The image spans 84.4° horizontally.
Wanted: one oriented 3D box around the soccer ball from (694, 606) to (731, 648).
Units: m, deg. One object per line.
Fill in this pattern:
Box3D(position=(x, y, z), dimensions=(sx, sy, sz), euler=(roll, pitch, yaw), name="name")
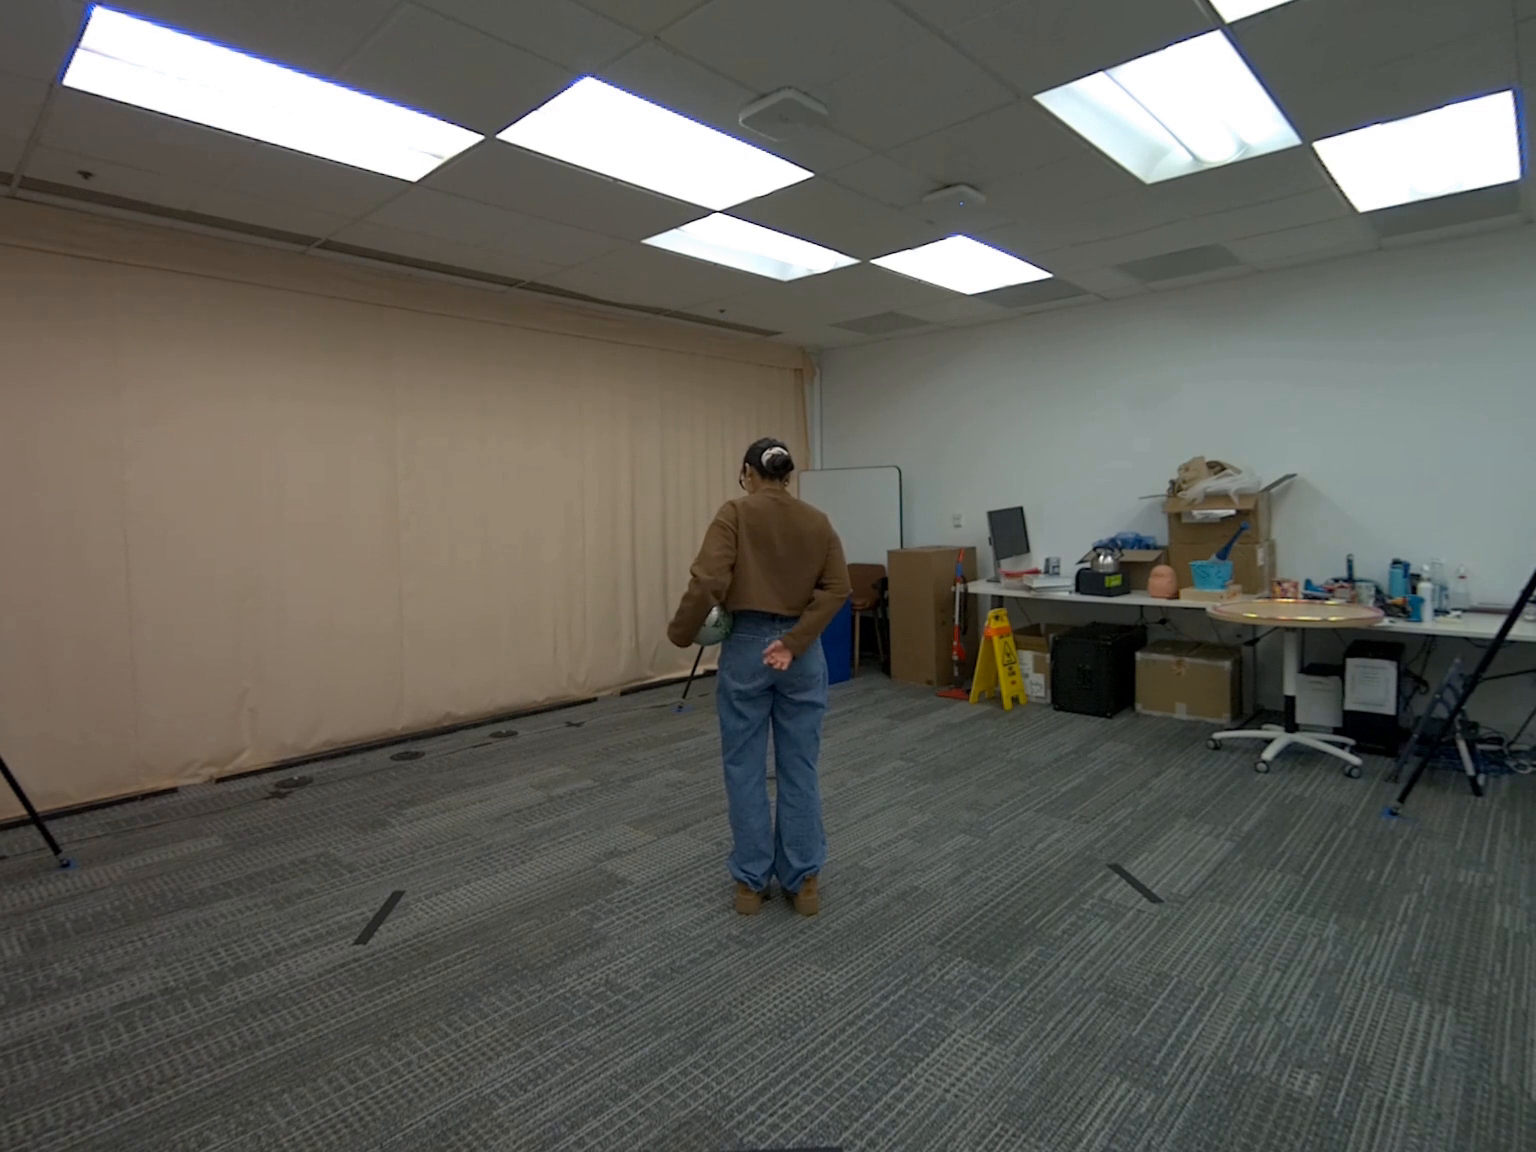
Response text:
Box3D(position=(-0.207, 0.149, 2.875), dimensions=(0.187, 0.187, 0.188), euler=(-1, 4, -2), name="soccer ball")
